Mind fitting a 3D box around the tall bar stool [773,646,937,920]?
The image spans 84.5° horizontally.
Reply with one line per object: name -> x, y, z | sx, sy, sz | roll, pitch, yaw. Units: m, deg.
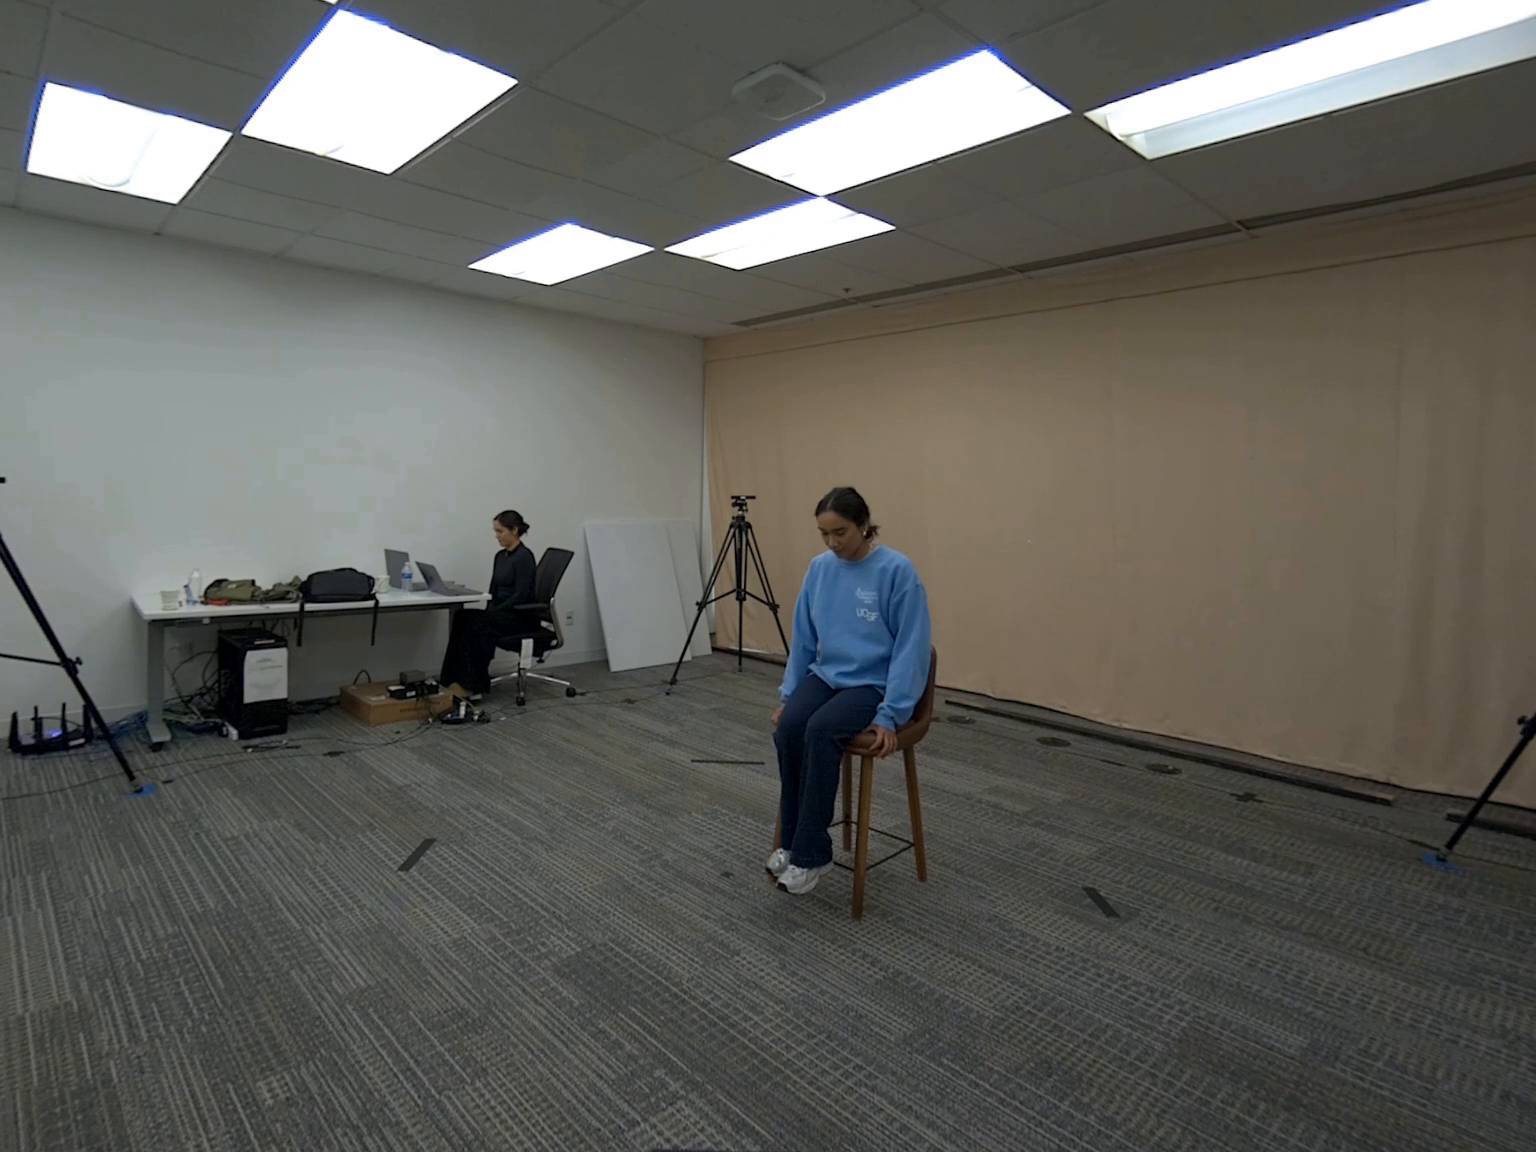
tall bar stool -> 0.322, 0.683, 3.059 | 0.468, 0.888, 0.456 | 6, 3, 44
